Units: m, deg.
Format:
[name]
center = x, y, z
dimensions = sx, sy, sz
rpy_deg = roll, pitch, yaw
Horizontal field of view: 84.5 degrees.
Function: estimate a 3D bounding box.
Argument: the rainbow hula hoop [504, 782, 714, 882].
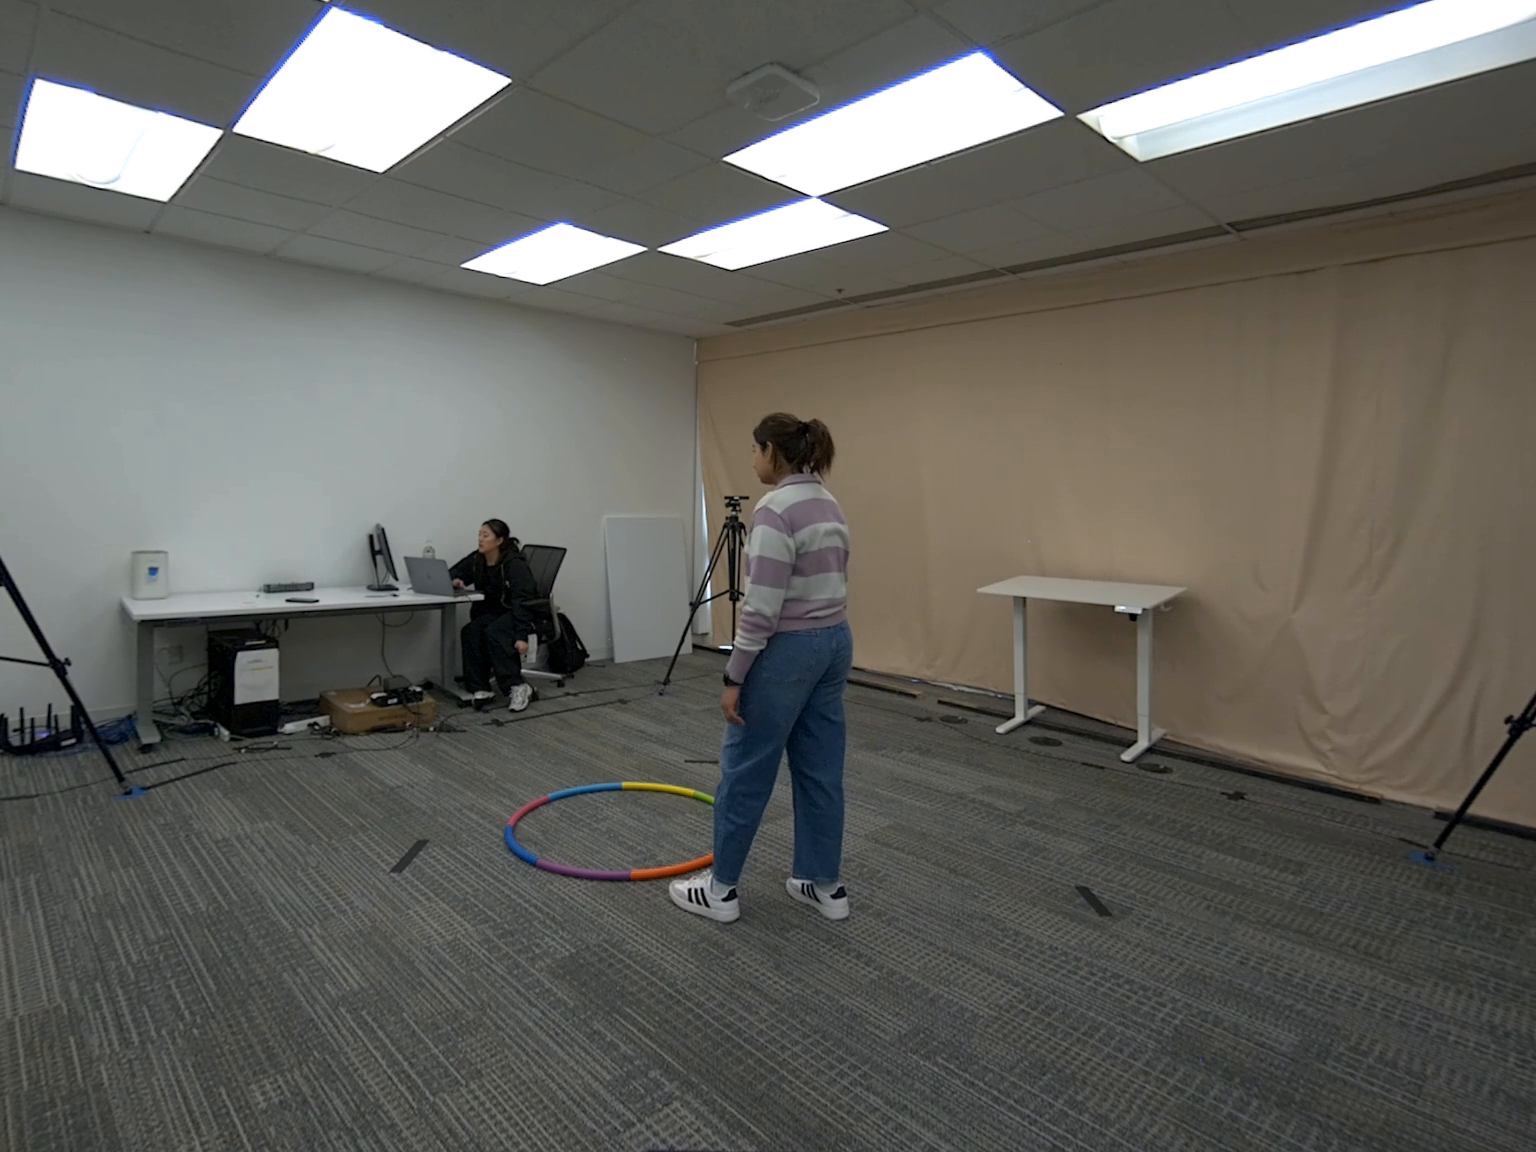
[rainbow hula hoop]
center = -0.599, 1.029, 3.516
dimensions = 0.978, 0.035, 0.982
rpy_deg = 2, 5, -1
